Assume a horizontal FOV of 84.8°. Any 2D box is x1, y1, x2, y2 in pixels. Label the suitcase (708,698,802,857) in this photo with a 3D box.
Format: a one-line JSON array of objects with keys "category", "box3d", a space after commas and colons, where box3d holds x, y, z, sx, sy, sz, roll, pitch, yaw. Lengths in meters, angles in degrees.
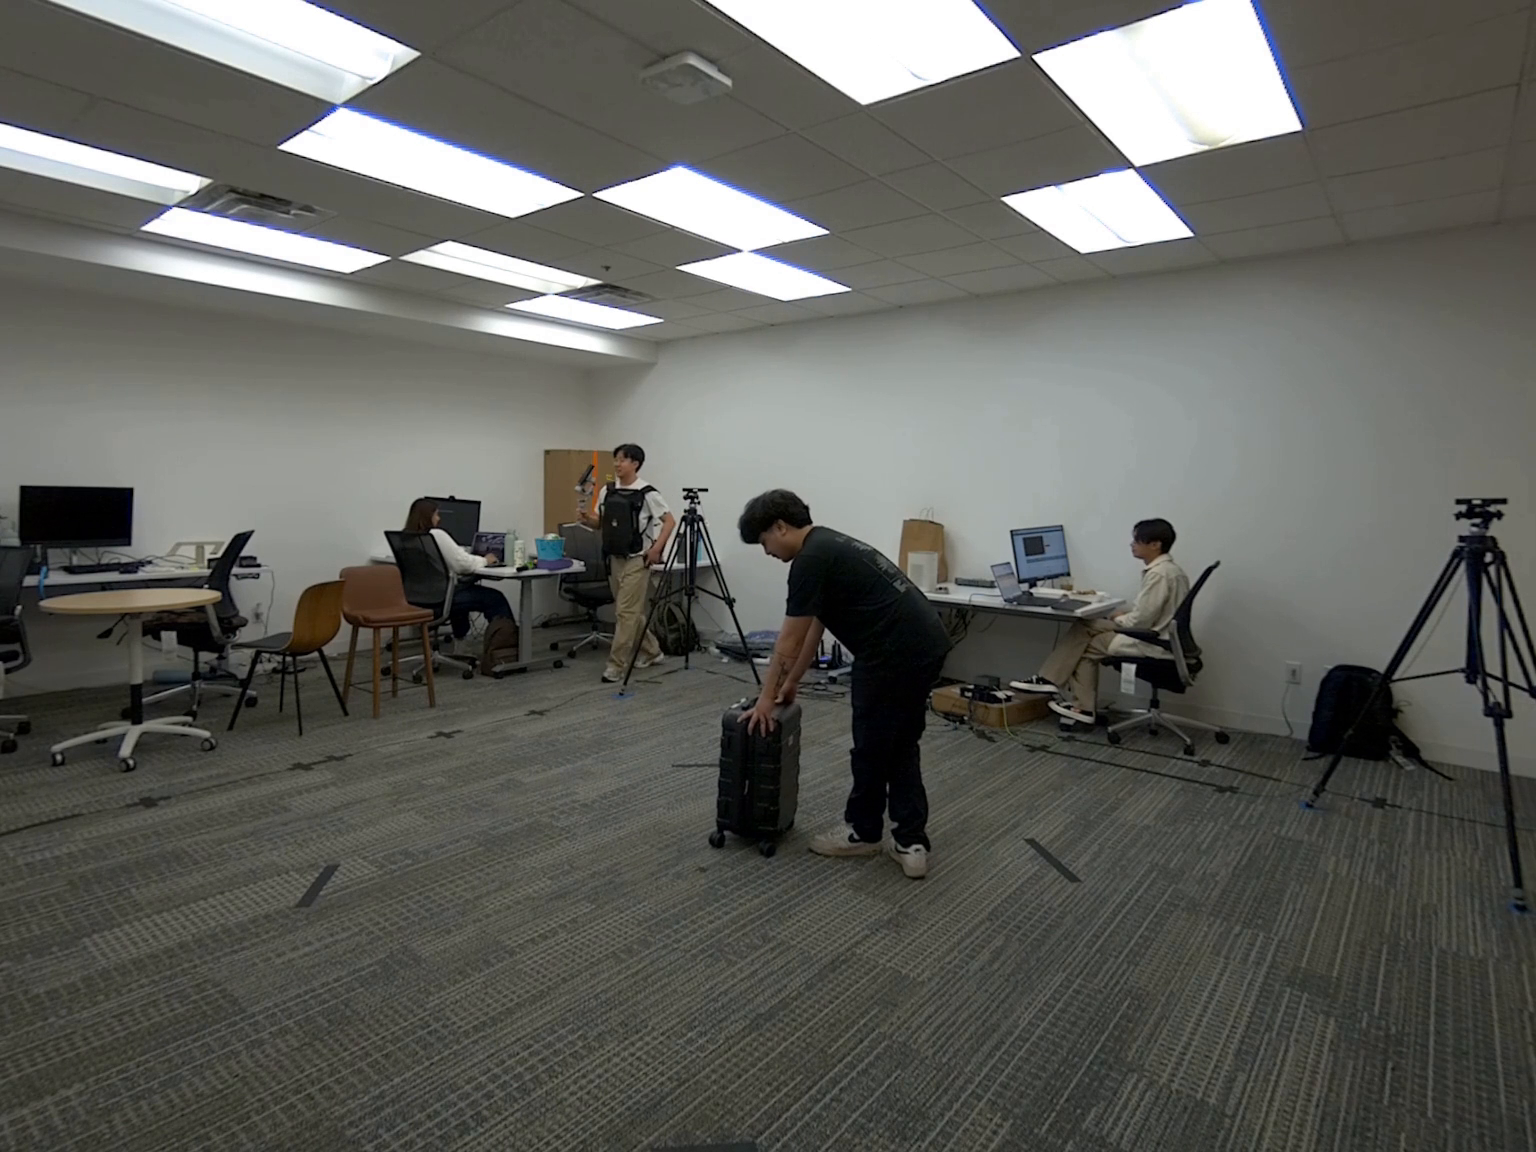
[{"category": "suitcase", "box3d": [-0.043, 0.773, 3.420, 0.254, 0.548, 0.368, 4, 4, 18]}]
